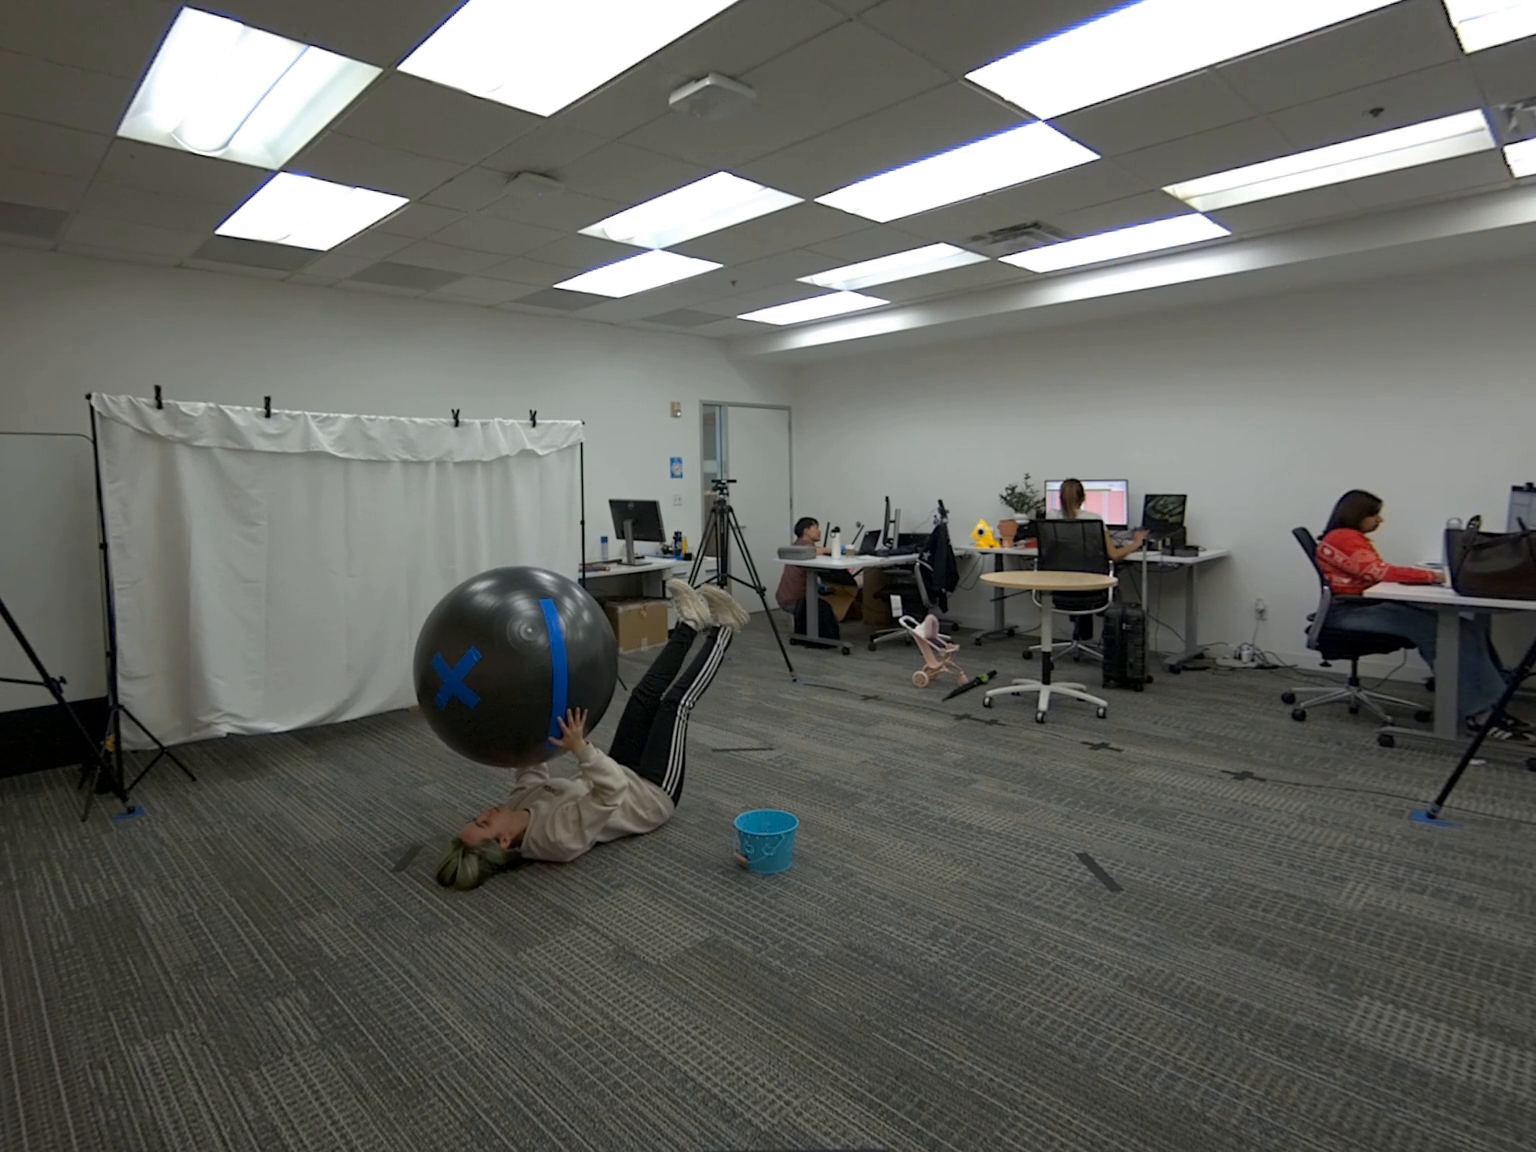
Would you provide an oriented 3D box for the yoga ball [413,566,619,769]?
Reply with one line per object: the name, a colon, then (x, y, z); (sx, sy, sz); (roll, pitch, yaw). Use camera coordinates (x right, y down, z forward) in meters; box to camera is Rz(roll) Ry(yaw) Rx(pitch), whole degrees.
yoga ball: (-0.955, 0.343, 3.254); (0.757, 0.755, 0.762); (-1, 5, -2)
